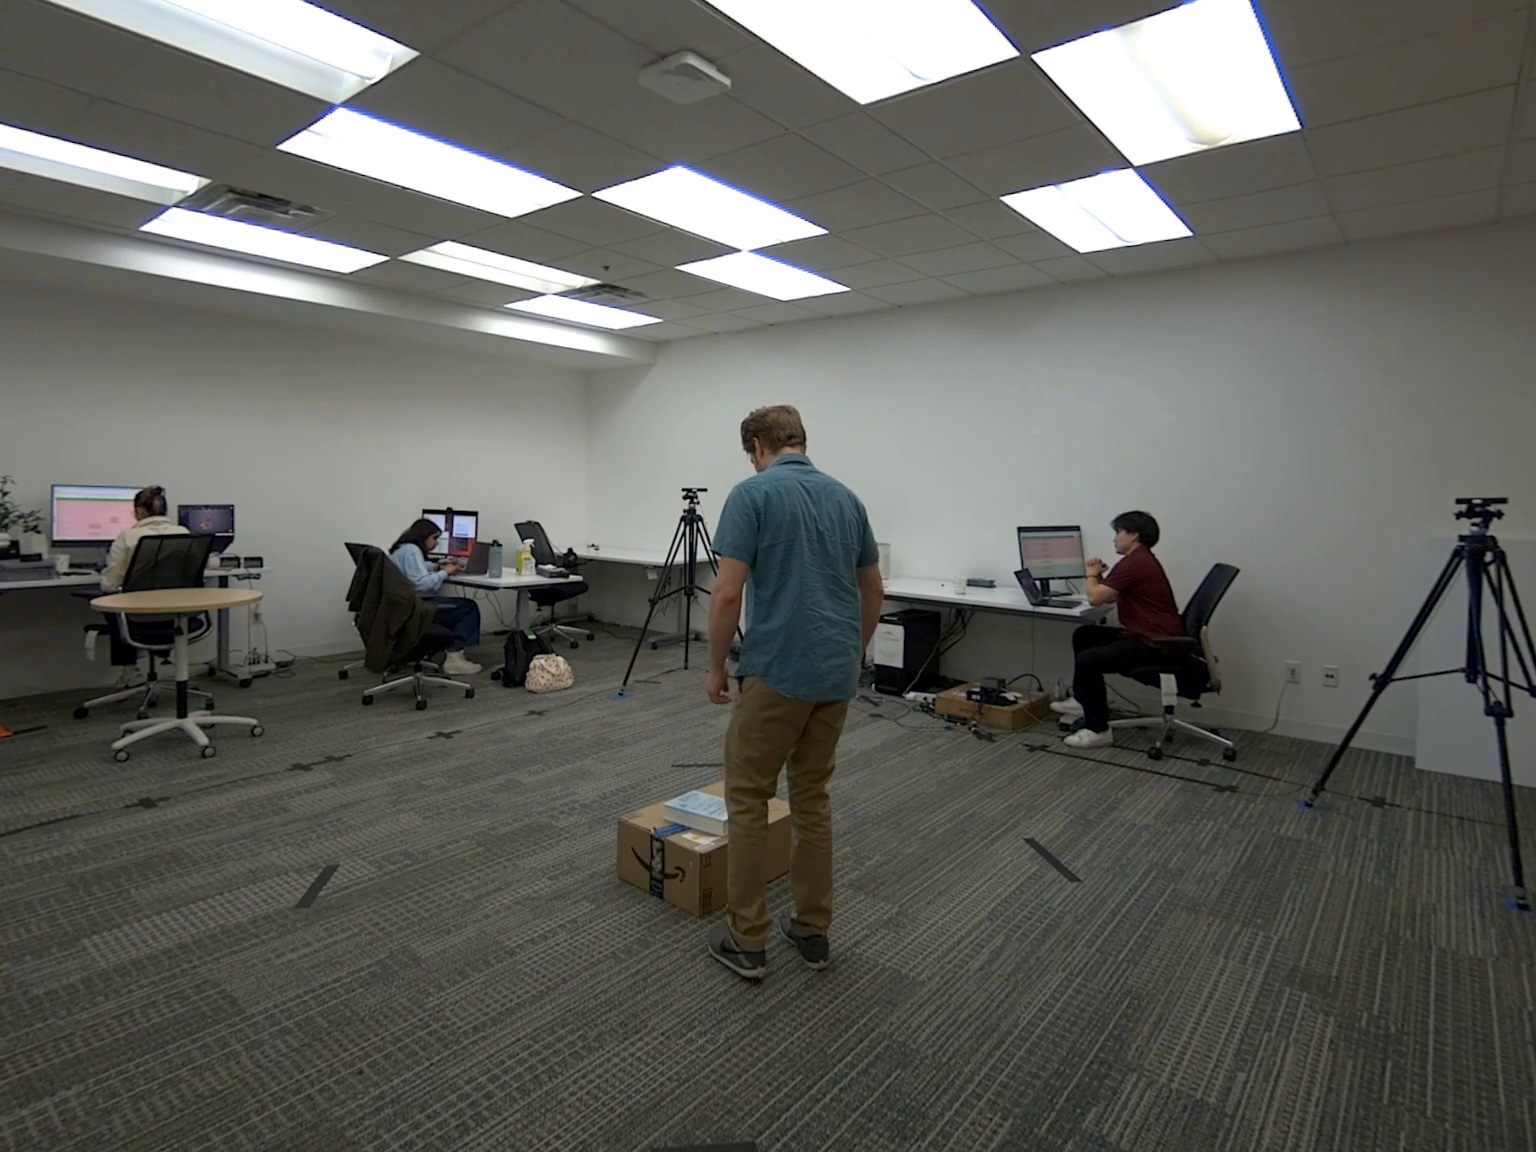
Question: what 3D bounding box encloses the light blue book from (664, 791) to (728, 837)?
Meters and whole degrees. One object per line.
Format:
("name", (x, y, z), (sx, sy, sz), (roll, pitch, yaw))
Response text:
("light blue book", (-0.225, 0.833, 3.026), (0.269, 0.059, 0.186), (4, 6, 33))
